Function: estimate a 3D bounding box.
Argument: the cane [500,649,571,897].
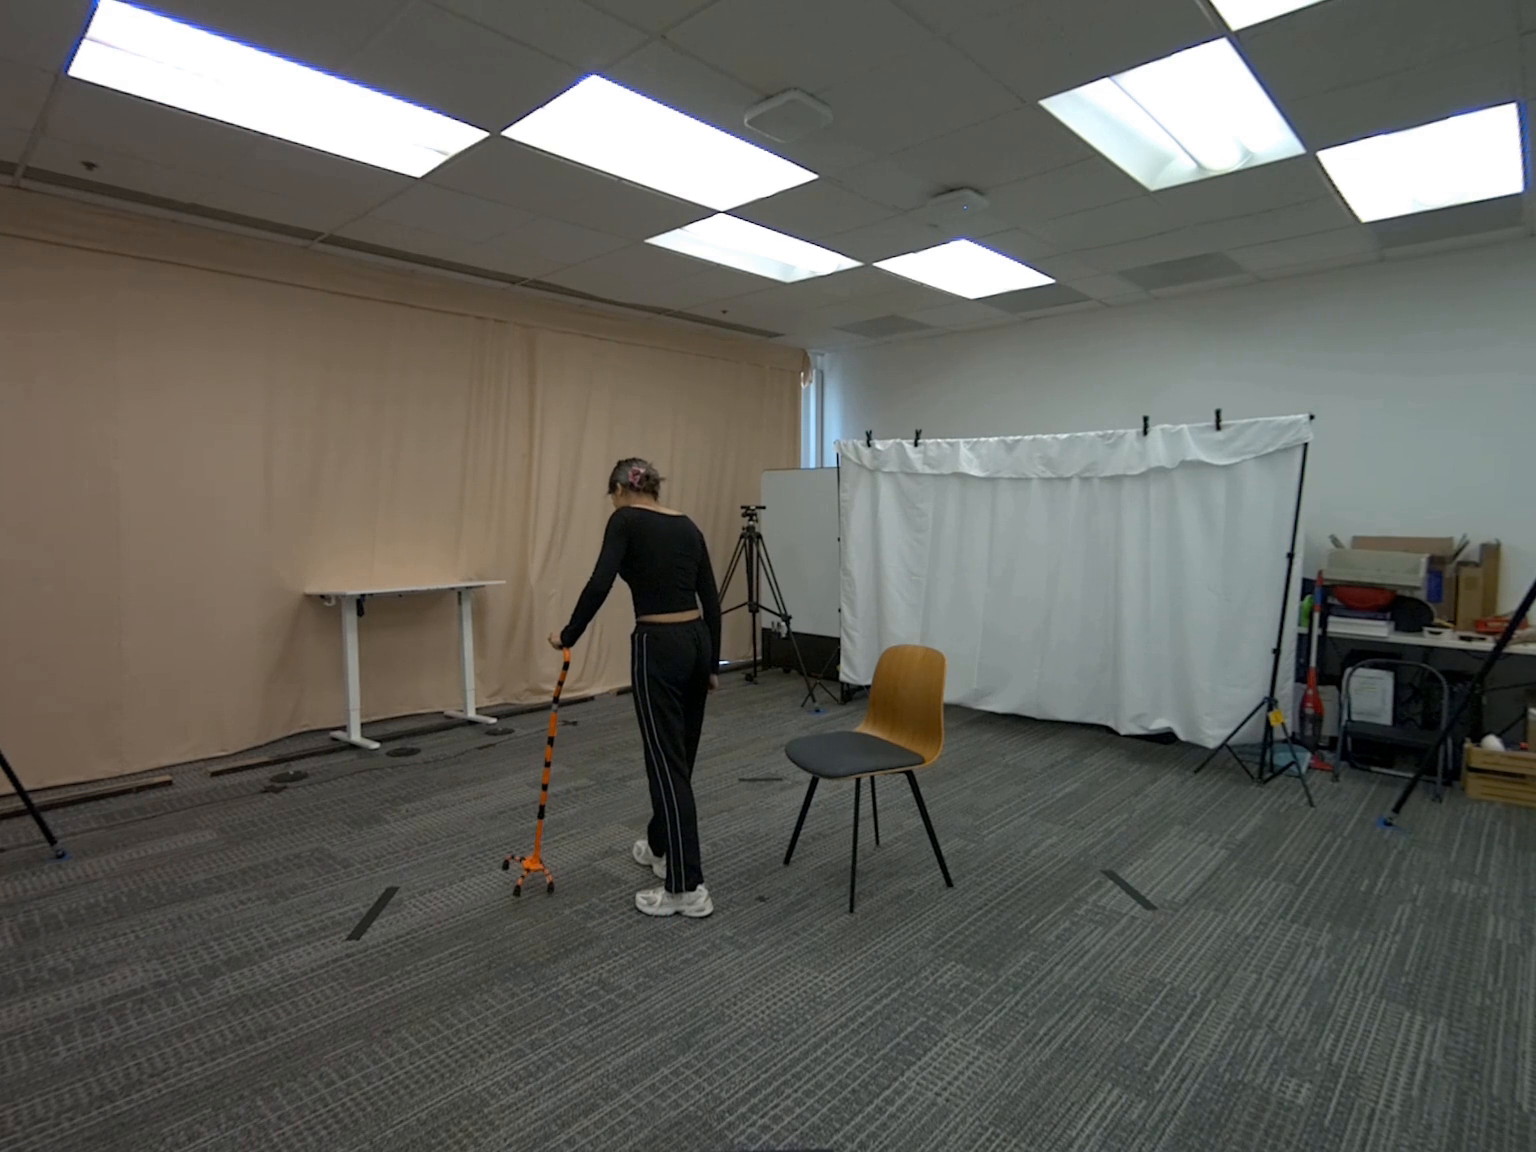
[{"bbox_3d":[-0.801,0.673,3.006,0.147,0.905,0.213,4,8,-32],"label":"cane"}]
